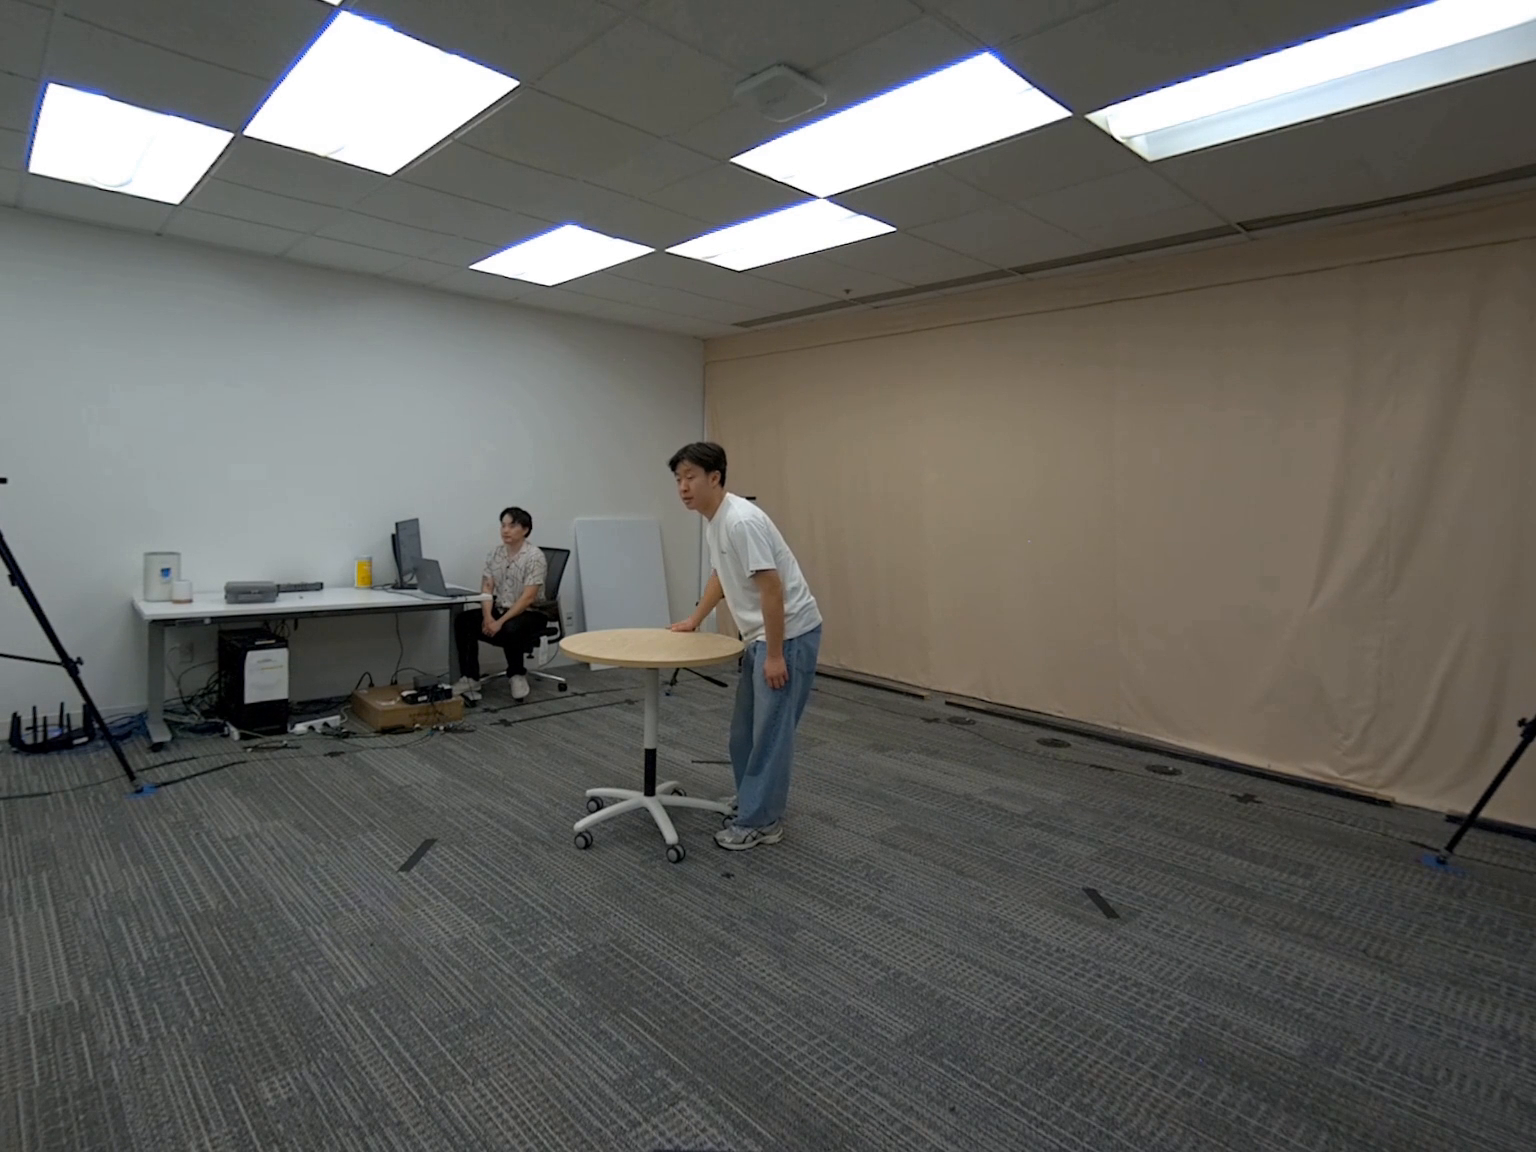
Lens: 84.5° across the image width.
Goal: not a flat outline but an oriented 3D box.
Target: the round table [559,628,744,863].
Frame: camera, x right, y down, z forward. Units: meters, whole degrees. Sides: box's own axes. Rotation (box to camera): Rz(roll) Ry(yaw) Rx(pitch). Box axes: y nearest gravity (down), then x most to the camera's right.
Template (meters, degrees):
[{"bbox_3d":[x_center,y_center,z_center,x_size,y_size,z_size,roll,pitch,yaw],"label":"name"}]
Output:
[{"bbox_3d":[-0.494,0.670,3.508,0.763,0.792,0.766,1,4,-1],"label":"round table"}]
